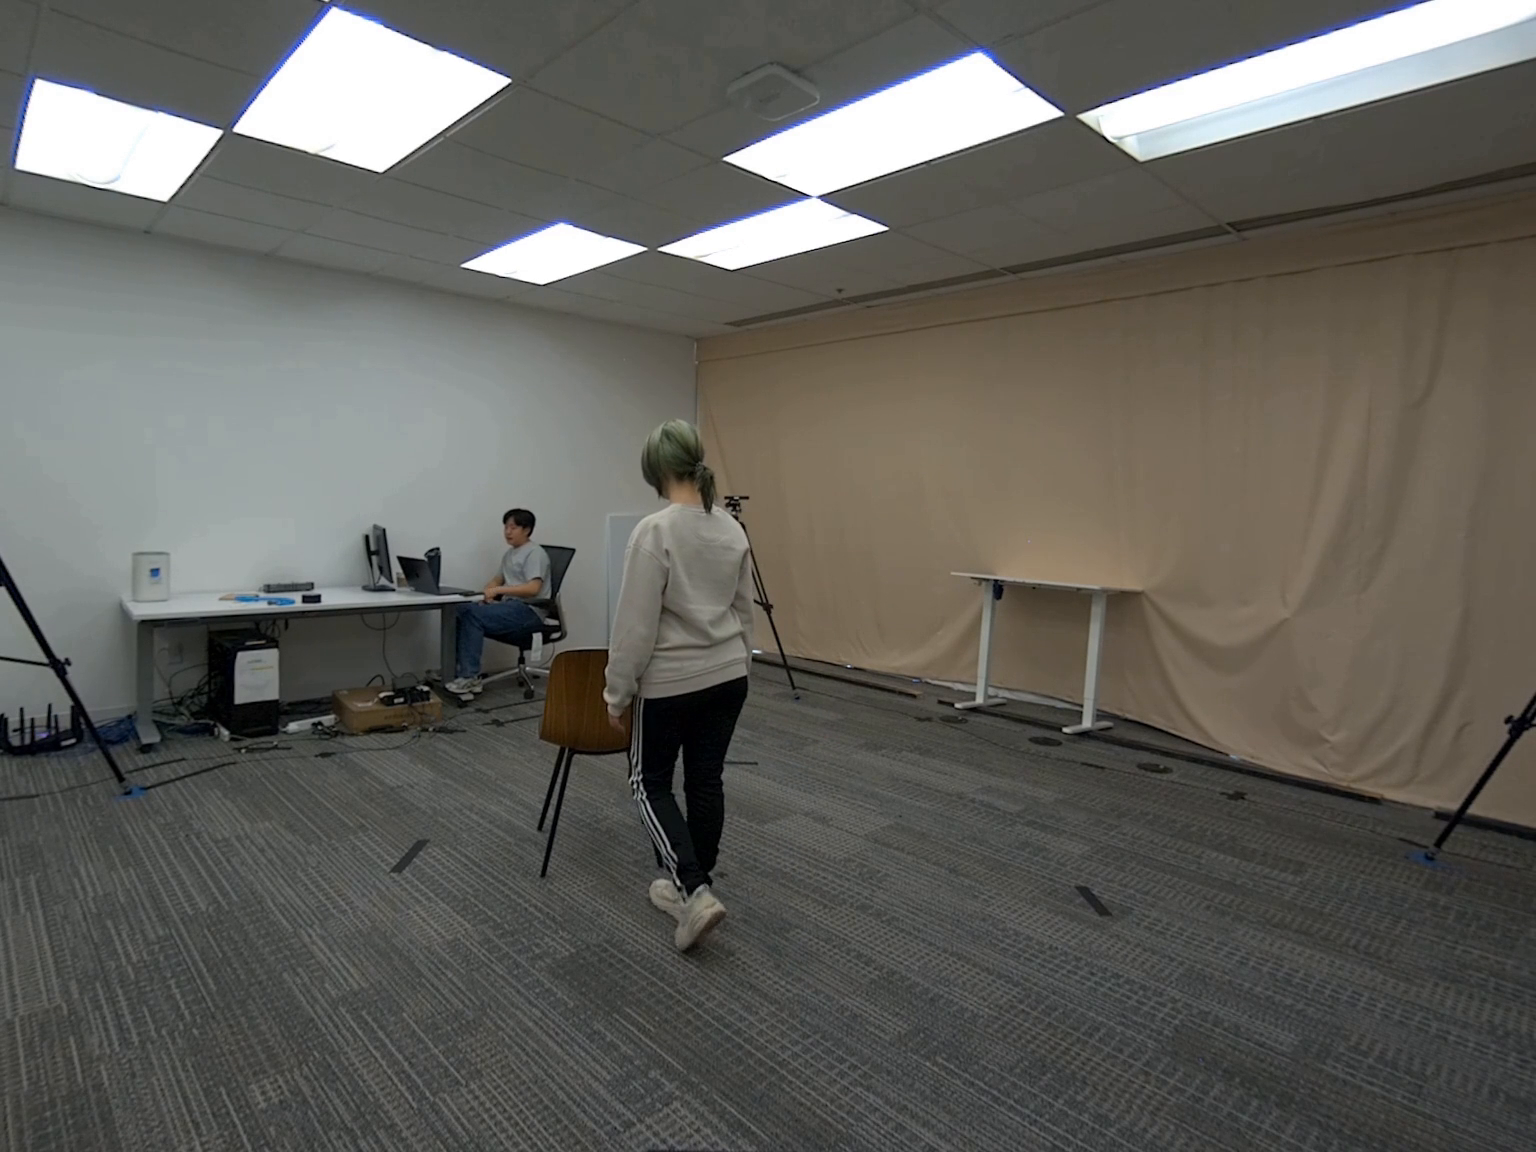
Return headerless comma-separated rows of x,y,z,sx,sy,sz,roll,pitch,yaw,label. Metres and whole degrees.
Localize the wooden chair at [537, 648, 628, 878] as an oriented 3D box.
-0.665,0.650,3.293,0.472,0.873,0.532,0,8,-16,wooden chair
